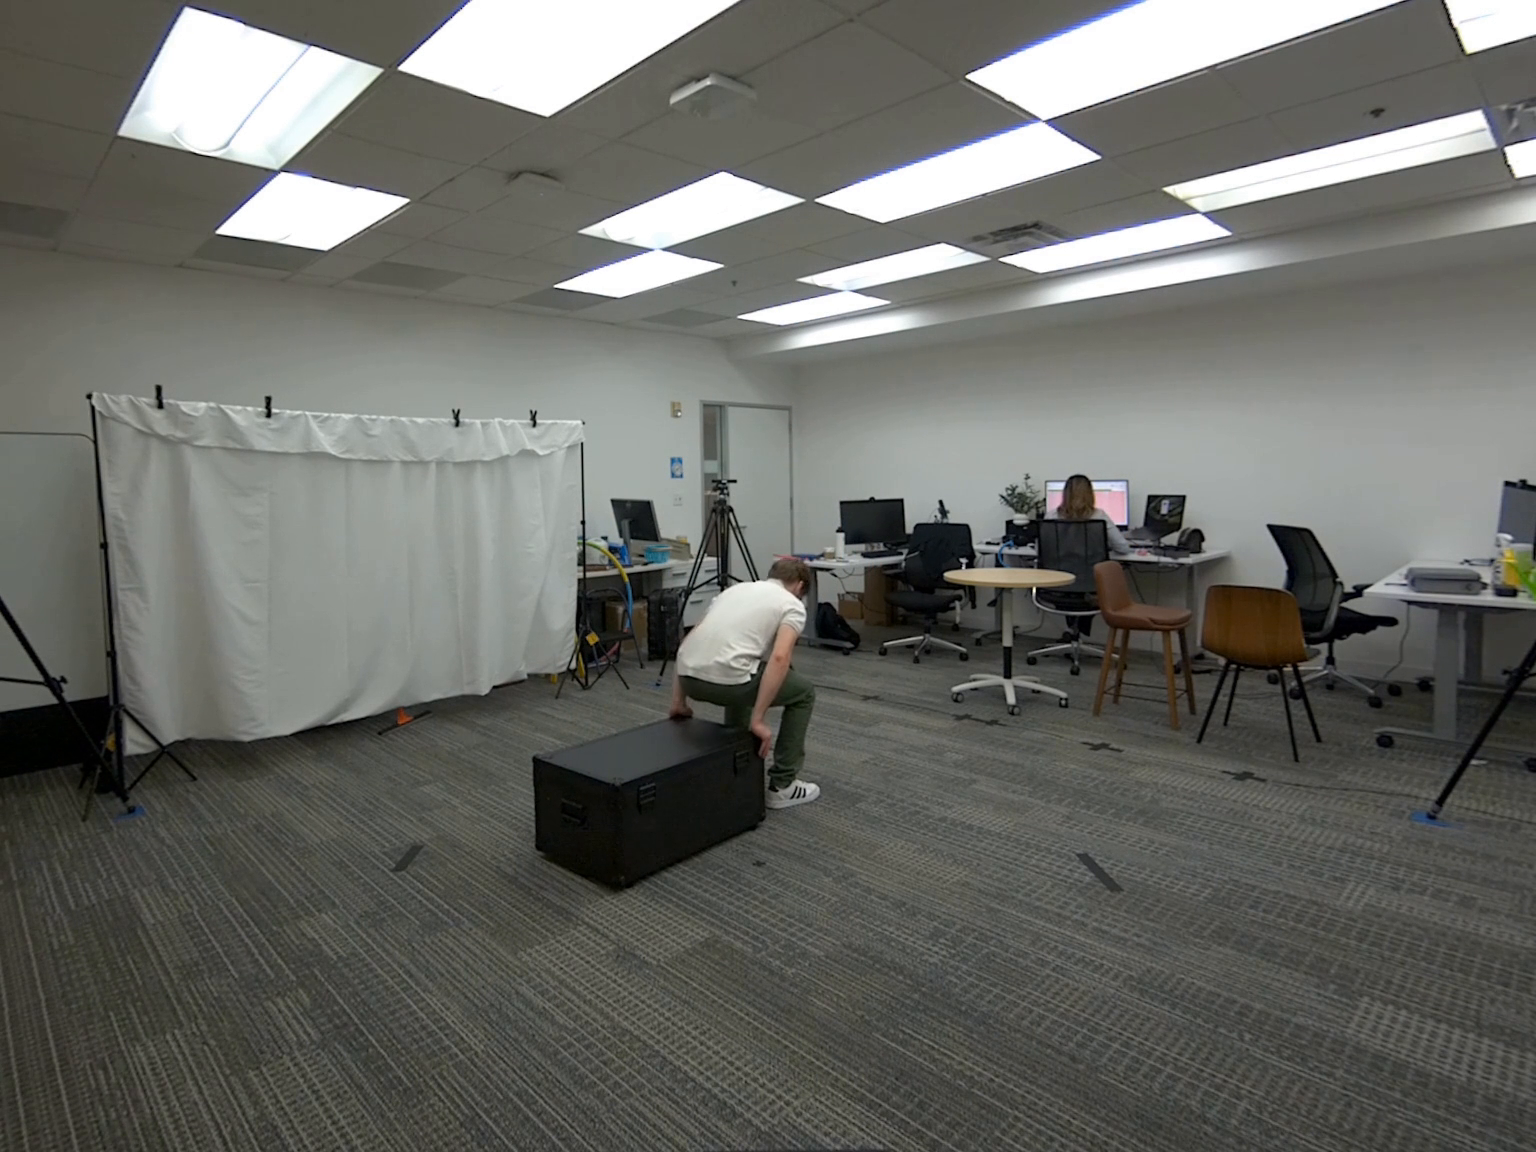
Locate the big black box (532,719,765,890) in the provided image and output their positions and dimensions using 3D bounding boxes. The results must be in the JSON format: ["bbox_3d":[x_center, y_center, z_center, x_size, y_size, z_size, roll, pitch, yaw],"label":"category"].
[{"bbox_3d":[-0.414,0.832,3.343,0.539,0.384,0.846,3,6,41],"label":"big black box"}]
